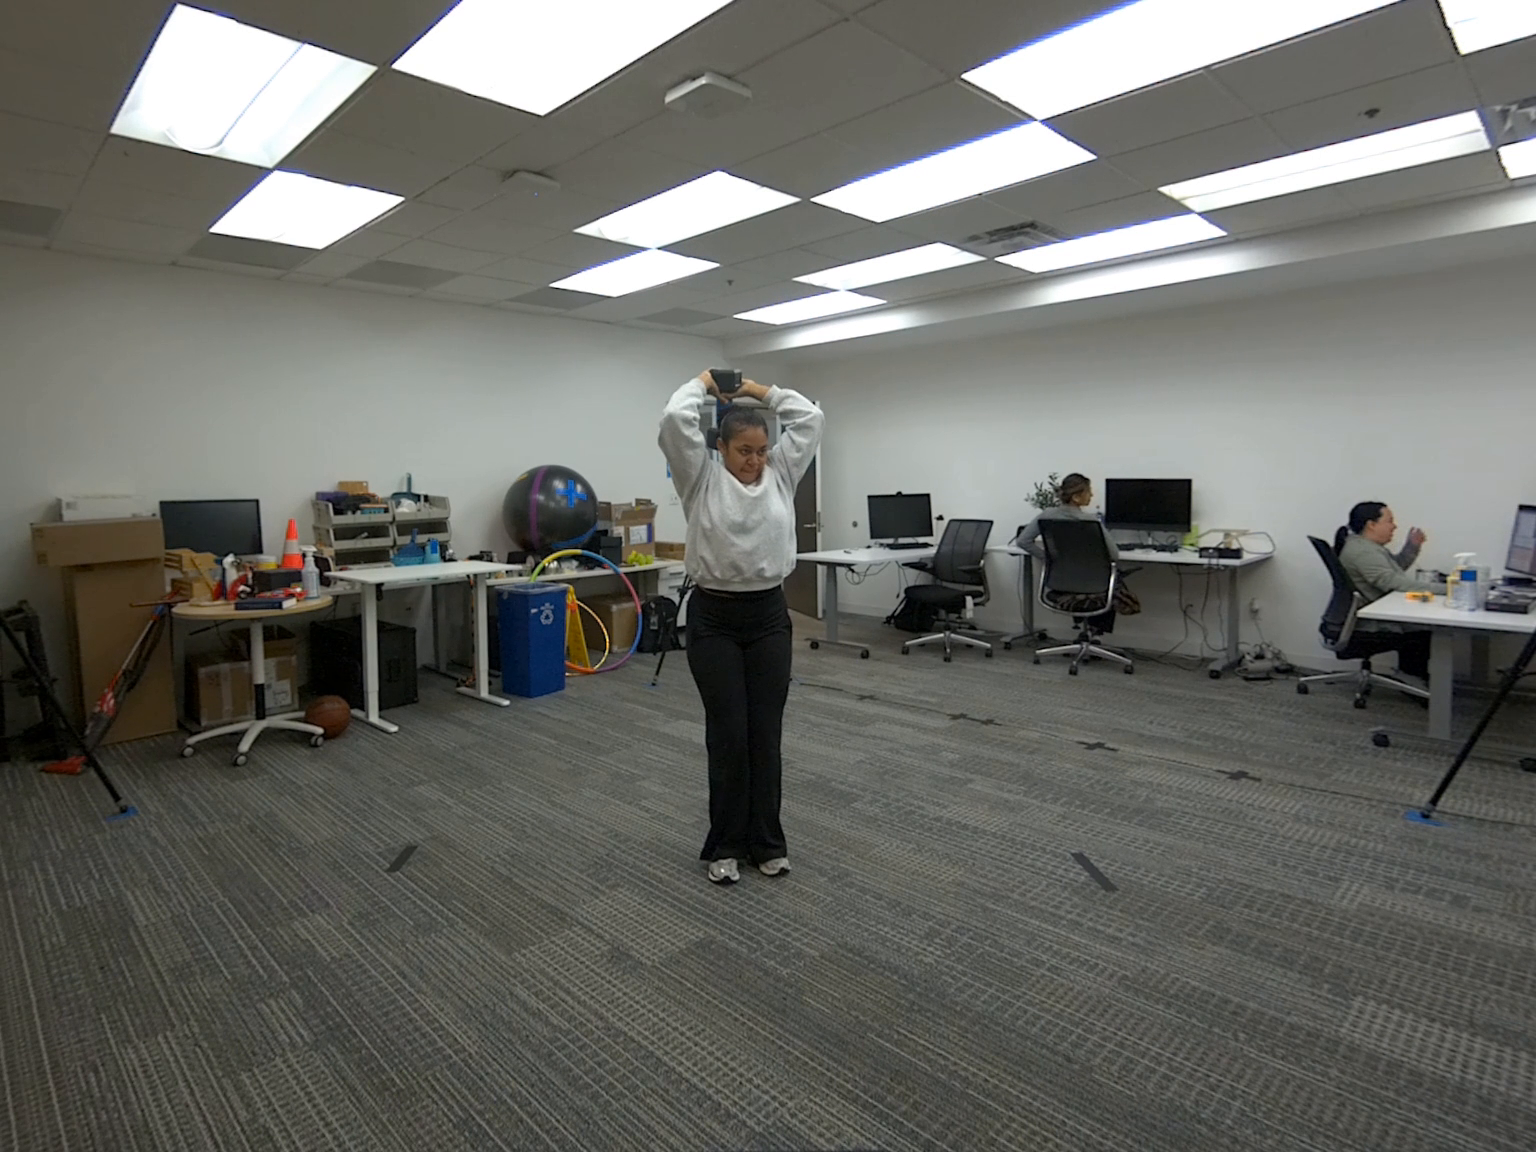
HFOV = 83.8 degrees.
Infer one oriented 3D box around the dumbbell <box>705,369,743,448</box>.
[{"bbox_3d":[-0.153,-0.613,3.111,0.111,0.289,0.122,8,18,23],"label":"dumbbell"}]
